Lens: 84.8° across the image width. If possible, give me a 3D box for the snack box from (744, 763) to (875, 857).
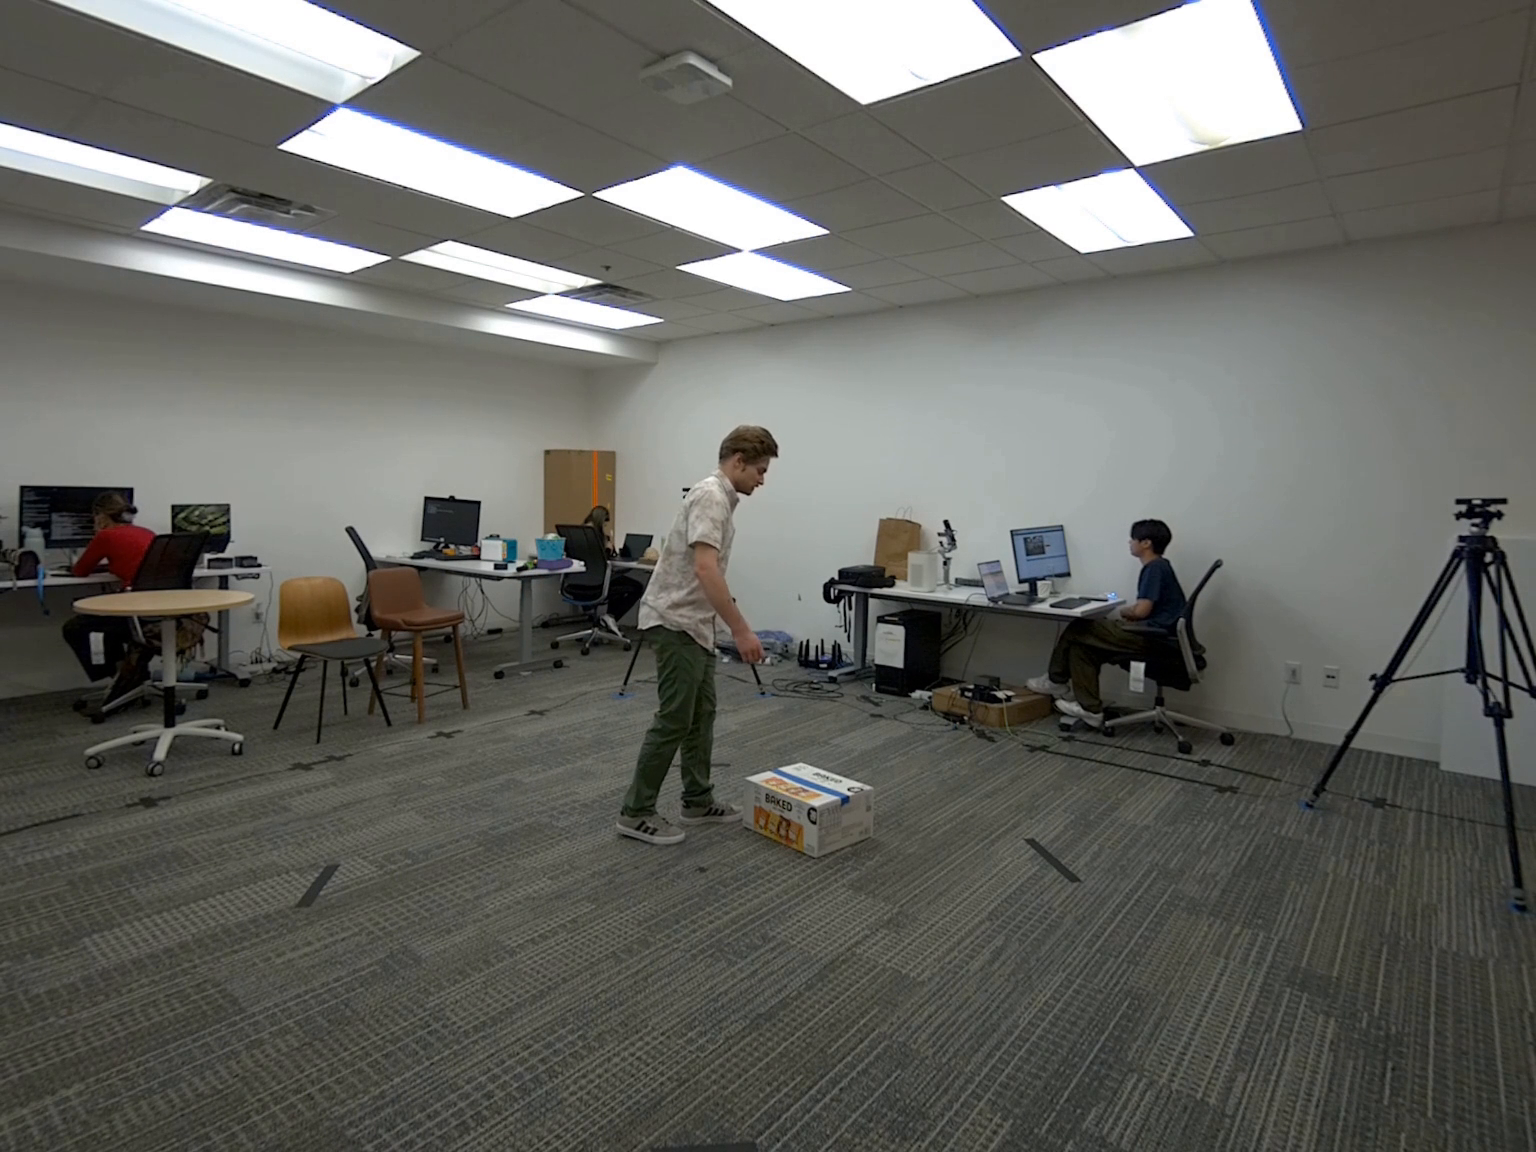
[{"bbox_3d":[0.155,0.941,3.469,0.330,0.205,0.419,-4,7,-43],"label":"snack box"}]
